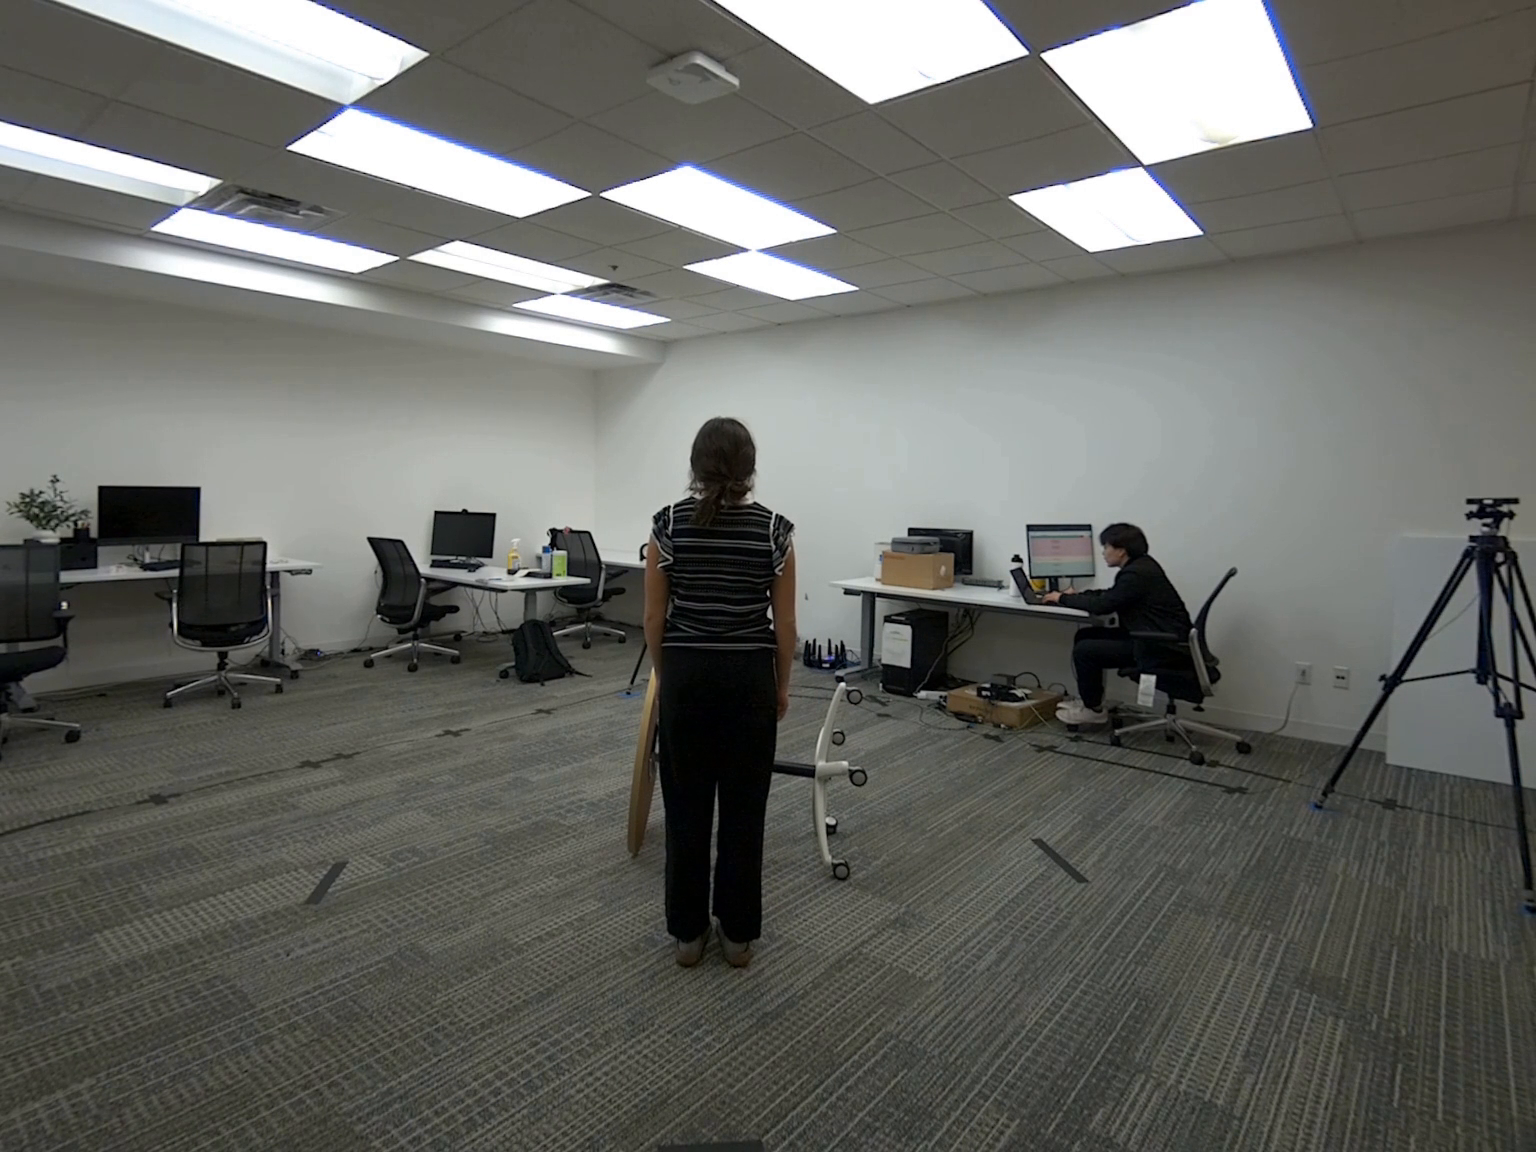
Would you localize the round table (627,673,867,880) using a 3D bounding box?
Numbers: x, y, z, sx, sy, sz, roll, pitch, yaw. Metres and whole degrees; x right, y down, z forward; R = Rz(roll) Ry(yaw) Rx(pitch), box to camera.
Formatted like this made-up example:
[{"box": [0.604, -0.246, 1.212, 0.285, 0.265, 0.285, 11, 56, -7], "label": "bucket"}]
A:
[{"box": [-0.080, 0.722, 3.280, 0.795, 0.762, 0.766, 7, 4, 0], "label": "round table"}]
